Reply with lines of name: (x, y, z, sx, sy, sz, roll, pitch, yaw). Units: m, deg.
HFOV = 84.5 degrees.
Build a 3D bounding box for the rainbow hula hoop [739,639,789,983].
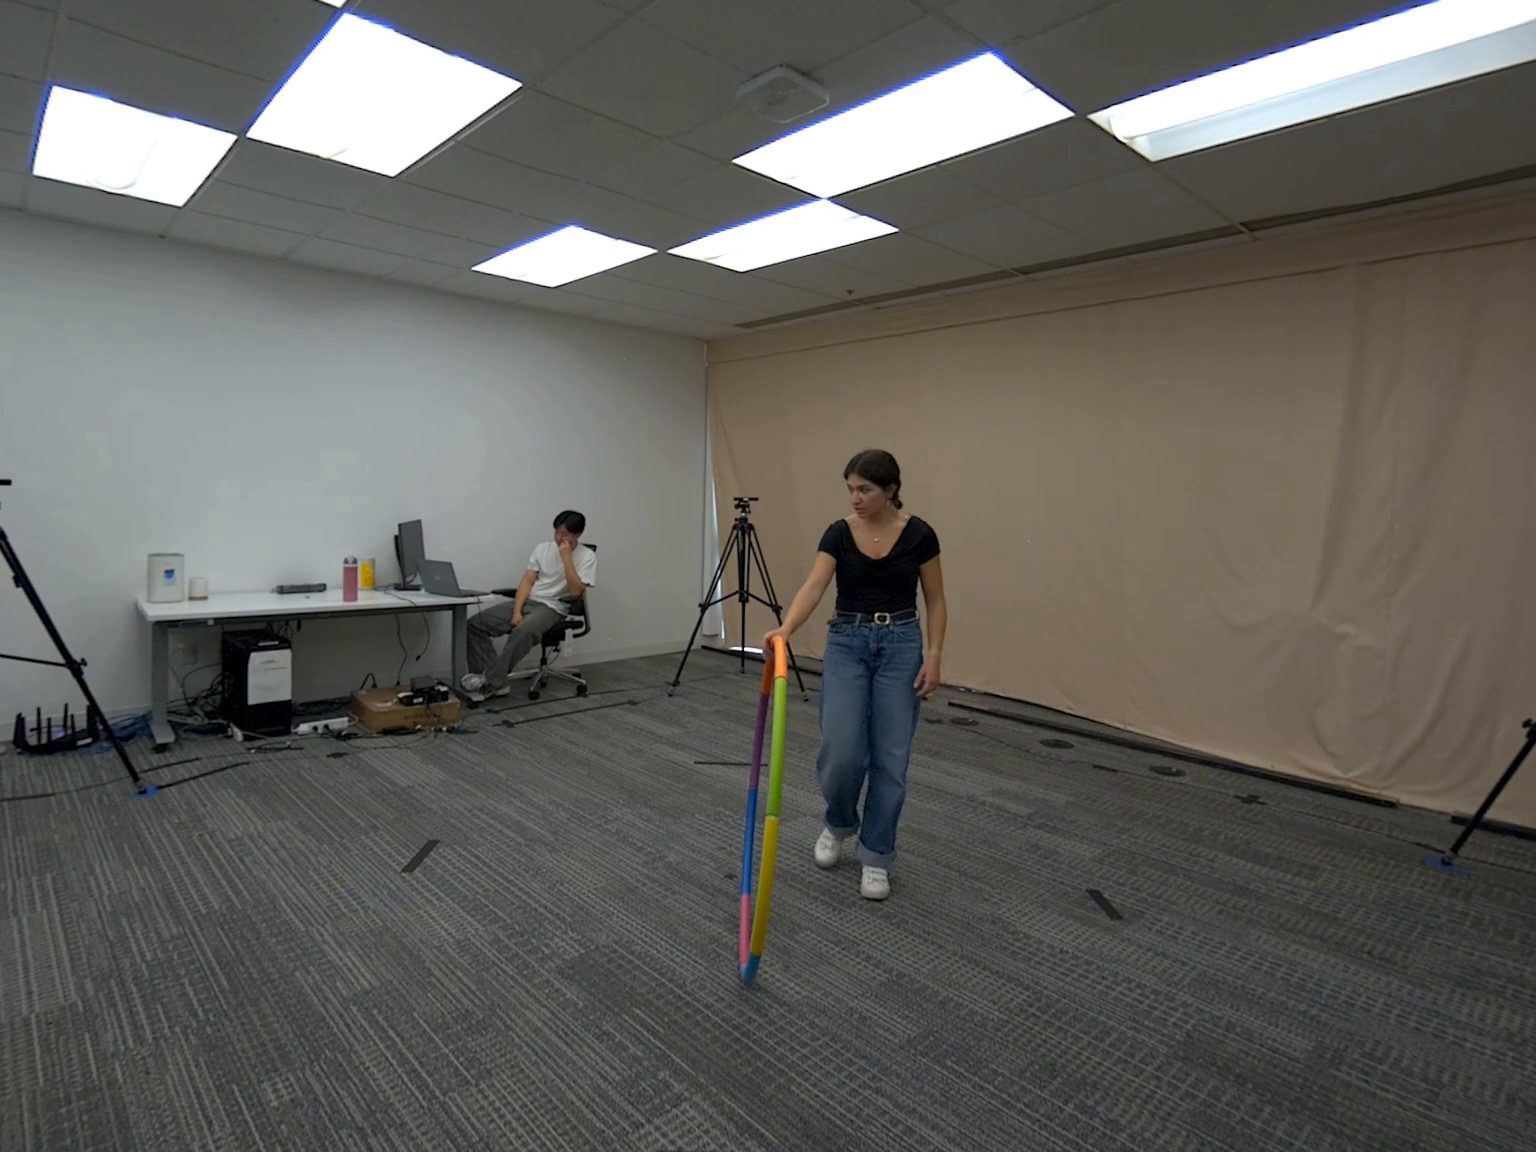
rainbow hula hoop: (-0.019, 0.680, 2.523, 0.035, 0.976, 0.981, 5, 4, -2)
